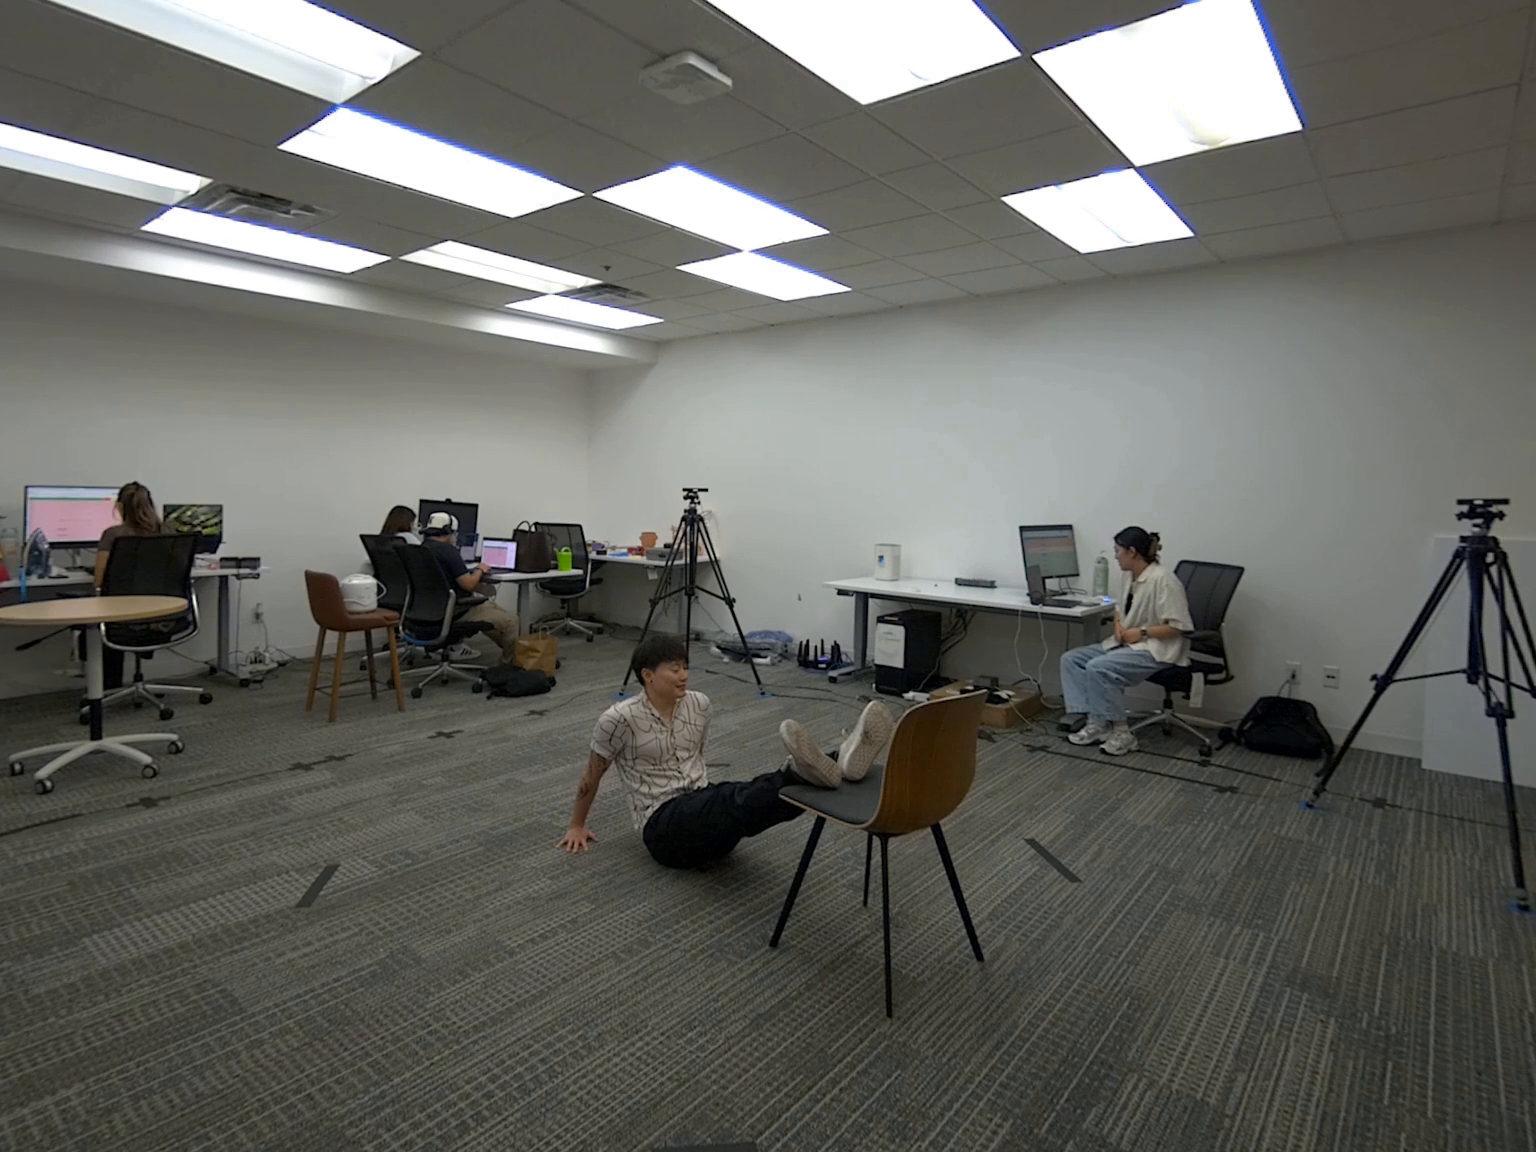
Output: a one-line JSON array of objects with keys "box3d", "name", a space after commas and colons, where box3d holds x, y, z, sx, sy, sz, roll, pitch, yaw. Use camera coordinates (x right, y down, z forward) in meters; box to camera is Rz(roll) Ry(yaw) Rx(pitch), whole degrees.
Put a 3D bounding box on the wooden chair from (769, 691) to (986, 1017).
[{"box3d": [0.324, 0.707, 2.545, 0.463, 0.872, 0.542, -2, 9, -43], "name": "wooden chair"}]
